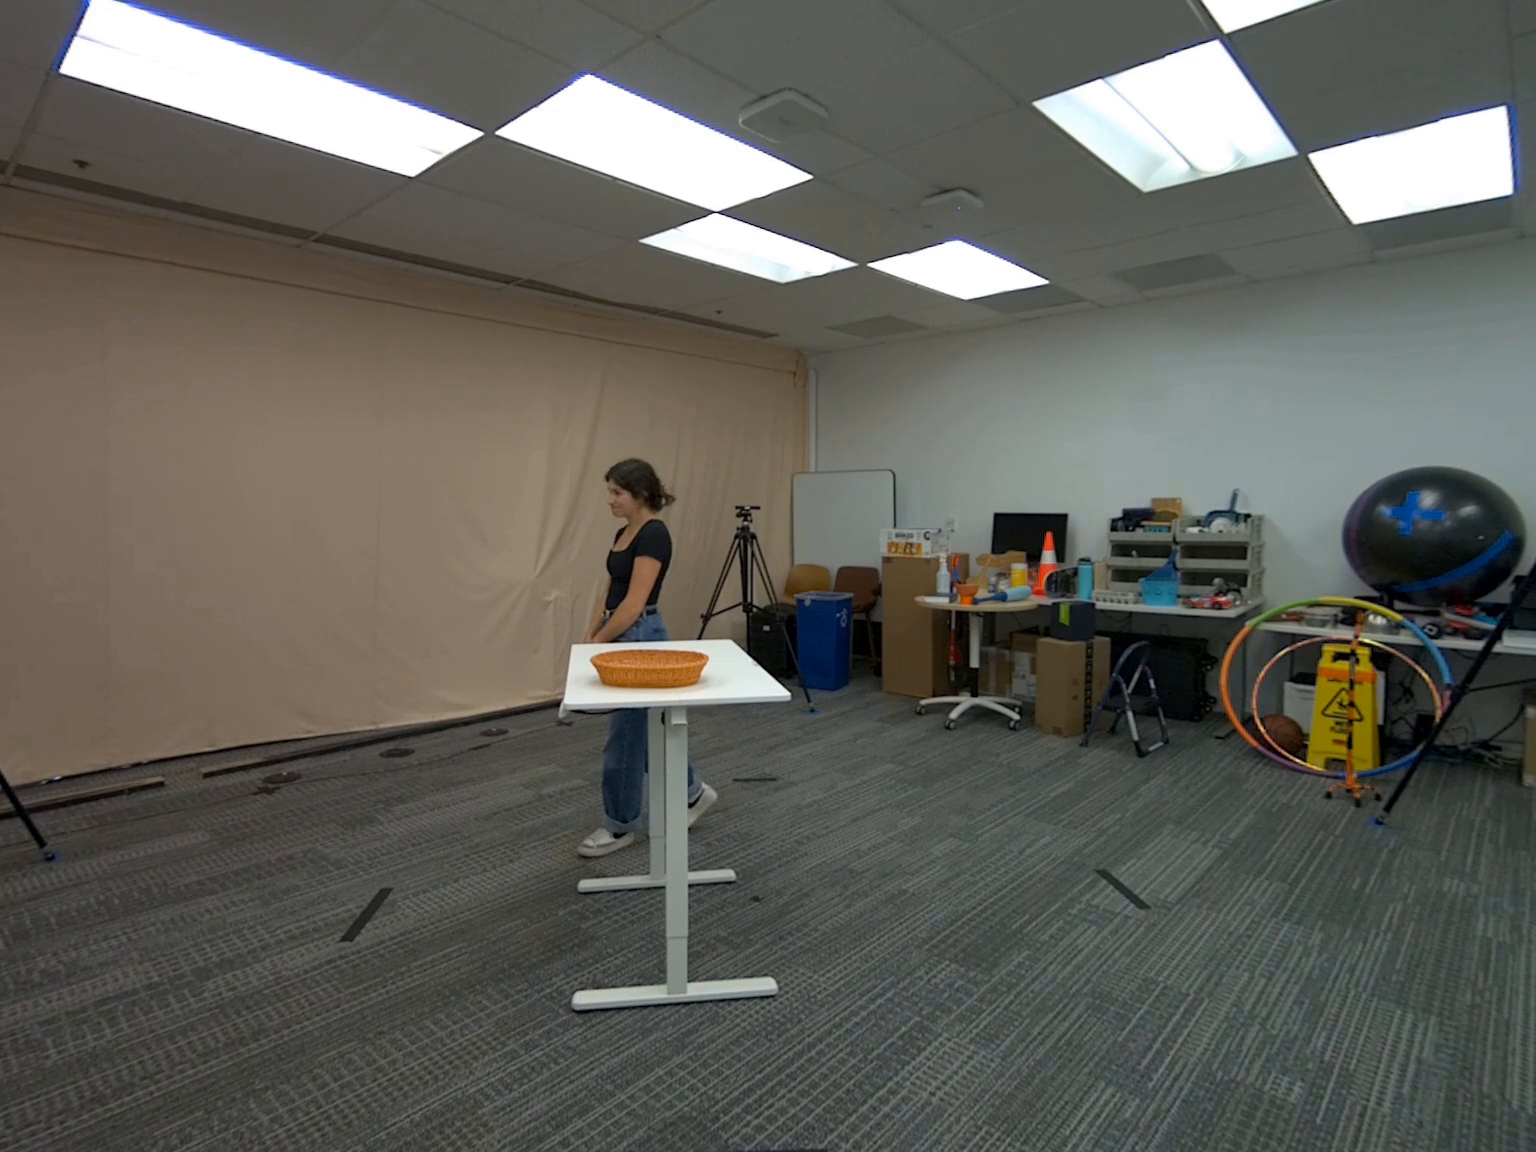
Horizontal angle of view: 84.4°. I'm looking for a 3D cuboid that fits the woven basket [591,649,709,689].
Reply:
[{"bbox_3d":[-0.354,0.280,2.429,0.354,0.073,0.251,0,5,8],"label":"woven basket"}]
